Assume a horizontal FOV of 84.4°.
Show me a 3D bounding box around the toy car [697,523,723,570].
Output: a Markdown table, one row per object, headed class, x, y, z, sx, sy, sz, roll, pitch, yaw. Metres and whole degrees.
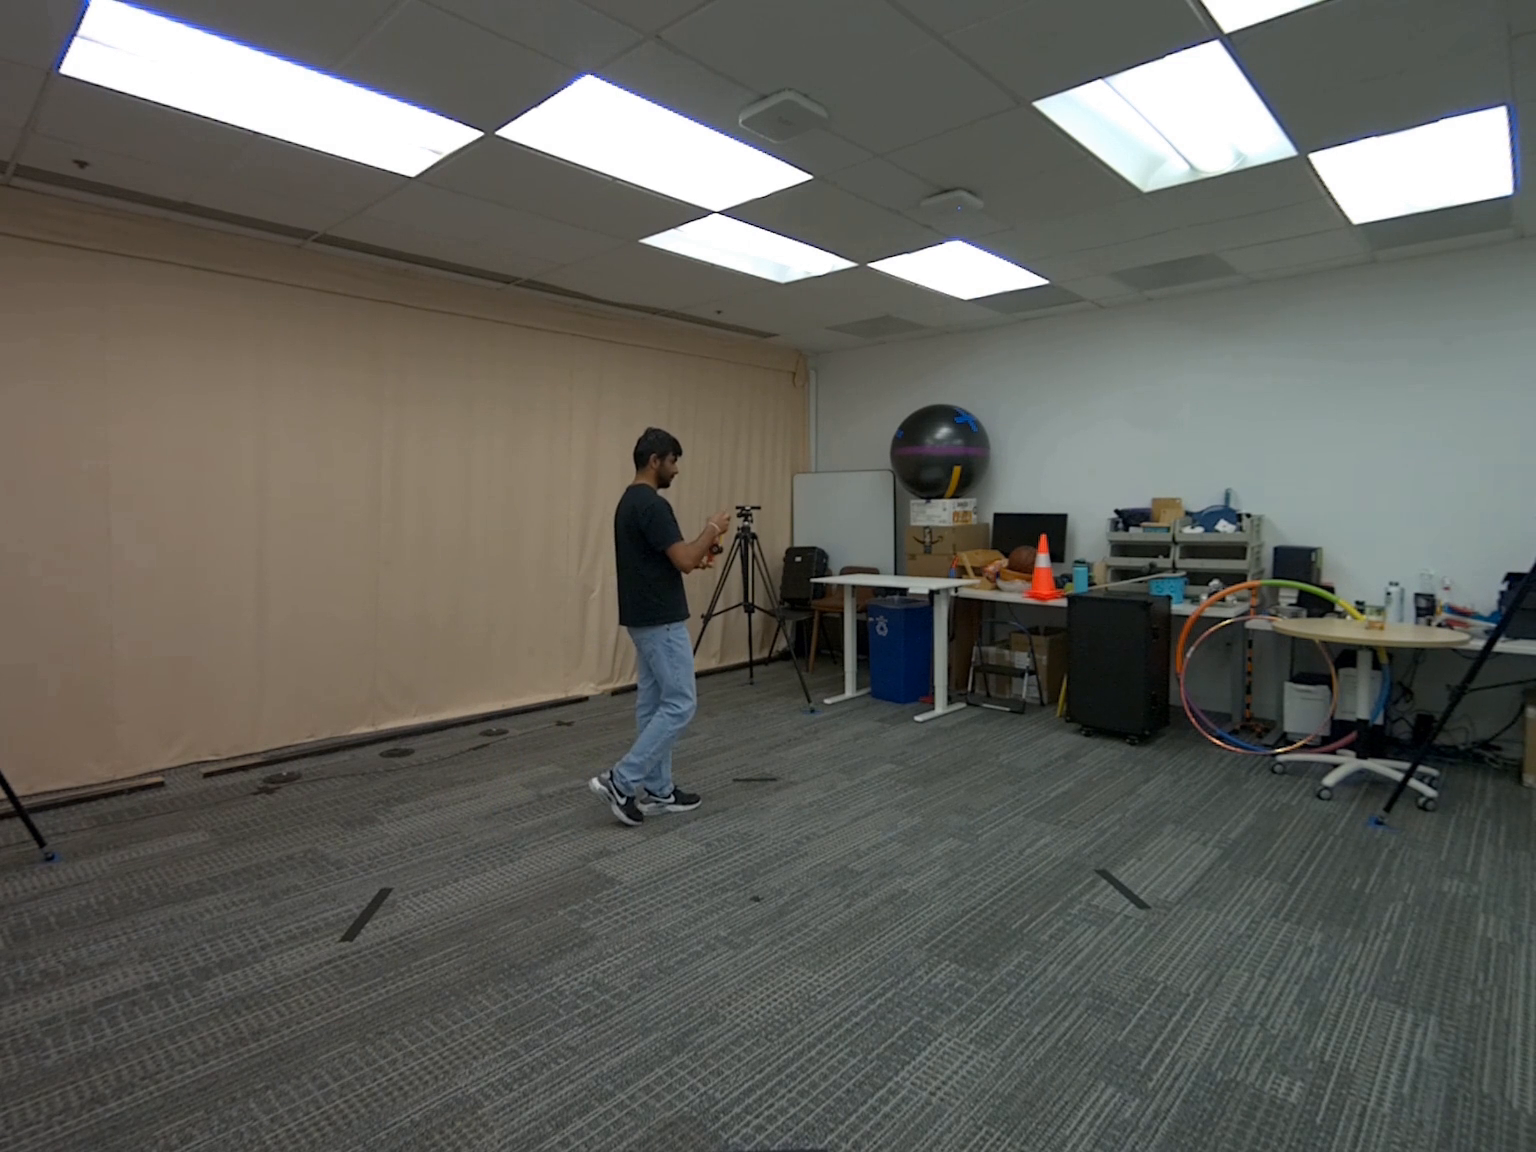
| class | x | y | z | sx | sy | sz | roll | pitch | yaw |
| --- | --- | --- | --- | --- | --- | --- | --- | --- | --- |
| toy car | -0.232 | -0.175 | 3.881 | 0.084 | 0.254 | 0.129 | 23 | 1 | 3 |
